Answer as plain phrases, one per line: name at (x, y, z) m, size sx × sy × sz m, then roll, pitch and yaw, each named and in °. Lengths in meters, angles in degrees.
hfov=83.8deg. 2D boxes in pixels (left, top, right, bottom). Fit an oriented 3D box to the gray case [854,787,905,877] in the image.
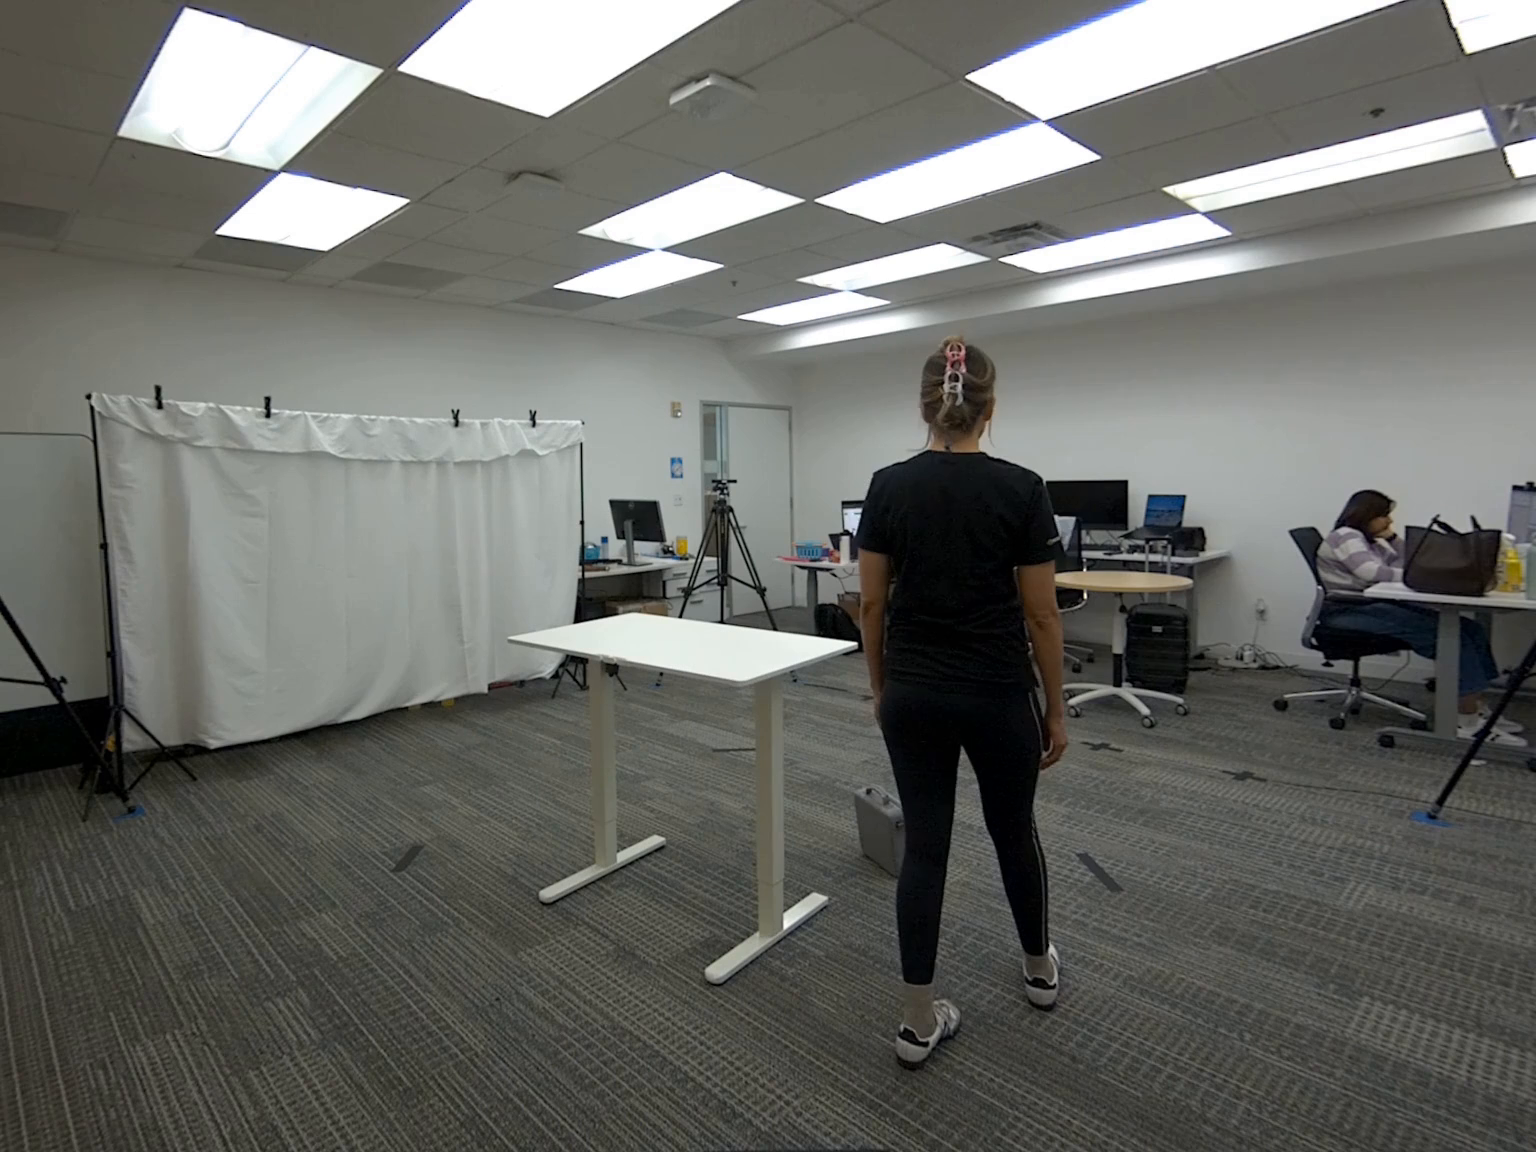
gray case at (0.426, 0.907, 3.072) m, size 0.103 × 0.259 × 0.263 m, roll -11°, pitch 8°, yaw -22°
